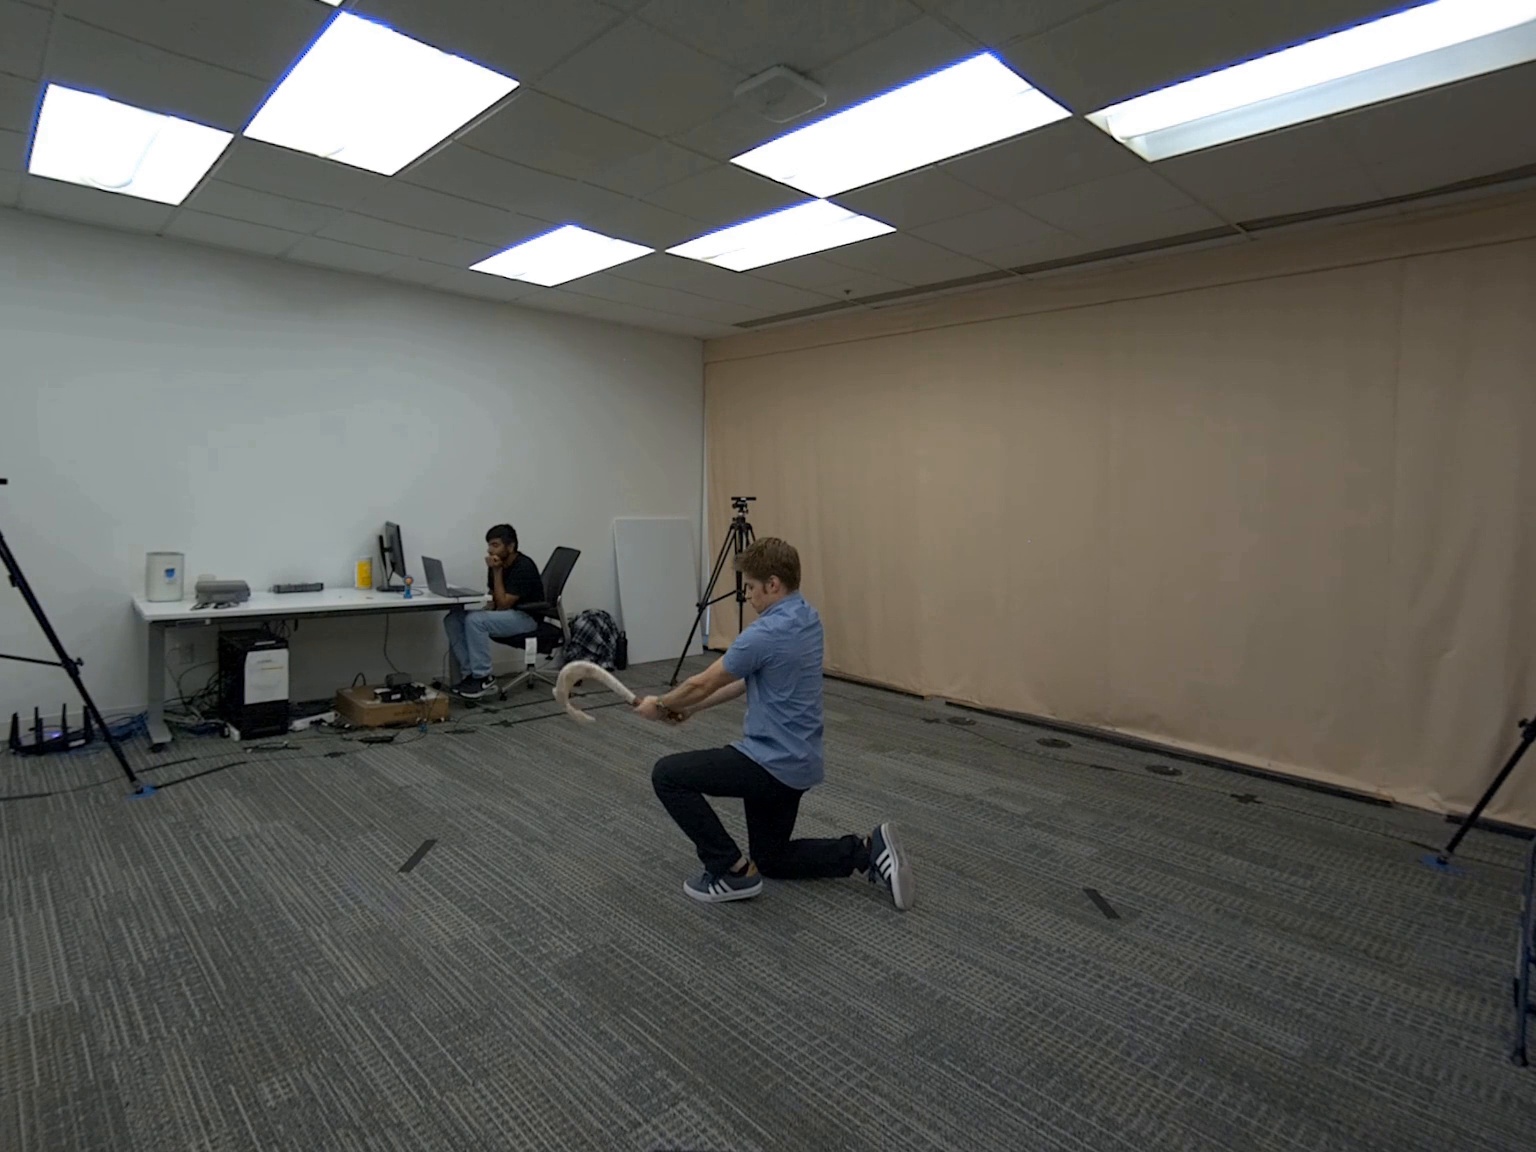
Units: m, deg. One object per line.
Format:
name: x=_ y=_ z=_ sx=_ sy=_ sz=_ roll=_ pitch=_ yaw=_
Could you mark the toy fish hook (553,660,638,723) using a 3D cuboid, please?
toy fish hook: x=-0.574 y=0.488 z=3.255 sx=0.508 sy=0.224 sz=0.048 roll=21 pitch=7 yaw=3
